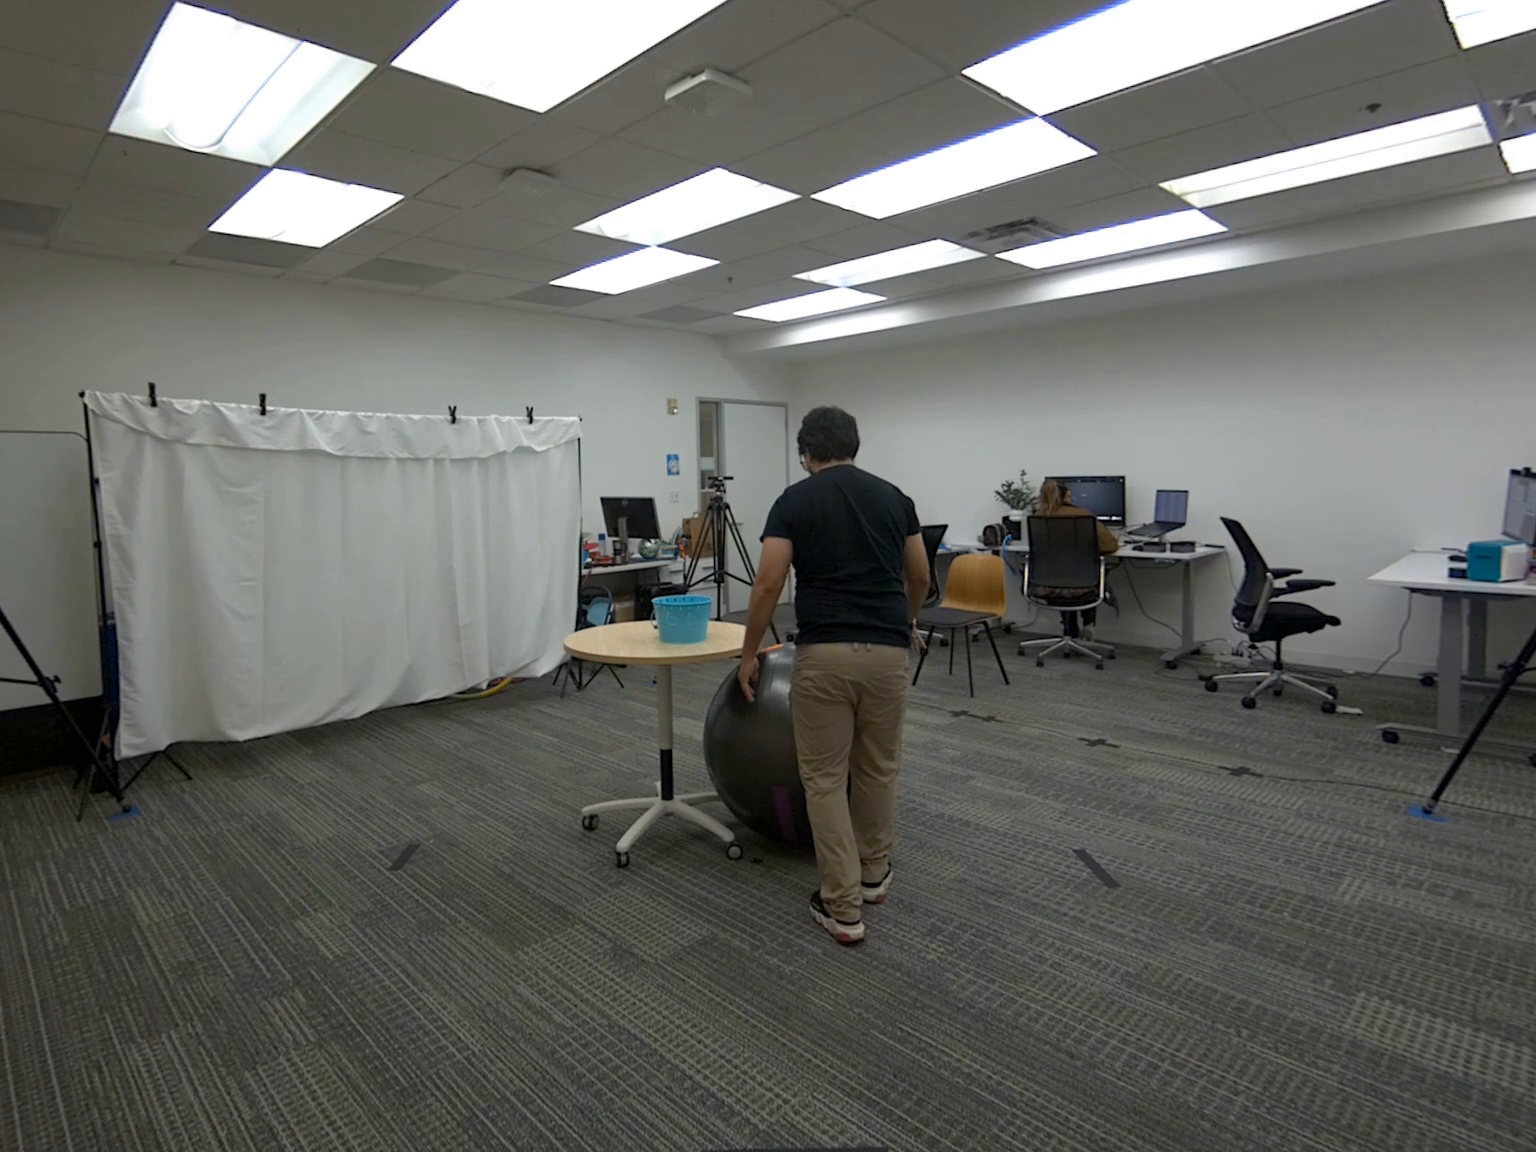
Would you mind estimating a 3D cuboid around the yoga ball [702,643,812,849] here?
[{"bbox_3d":[0.139,0.649,3.309,0.757,0.755,0.762,-1,5,-2],"label":"yoga ball"}]
